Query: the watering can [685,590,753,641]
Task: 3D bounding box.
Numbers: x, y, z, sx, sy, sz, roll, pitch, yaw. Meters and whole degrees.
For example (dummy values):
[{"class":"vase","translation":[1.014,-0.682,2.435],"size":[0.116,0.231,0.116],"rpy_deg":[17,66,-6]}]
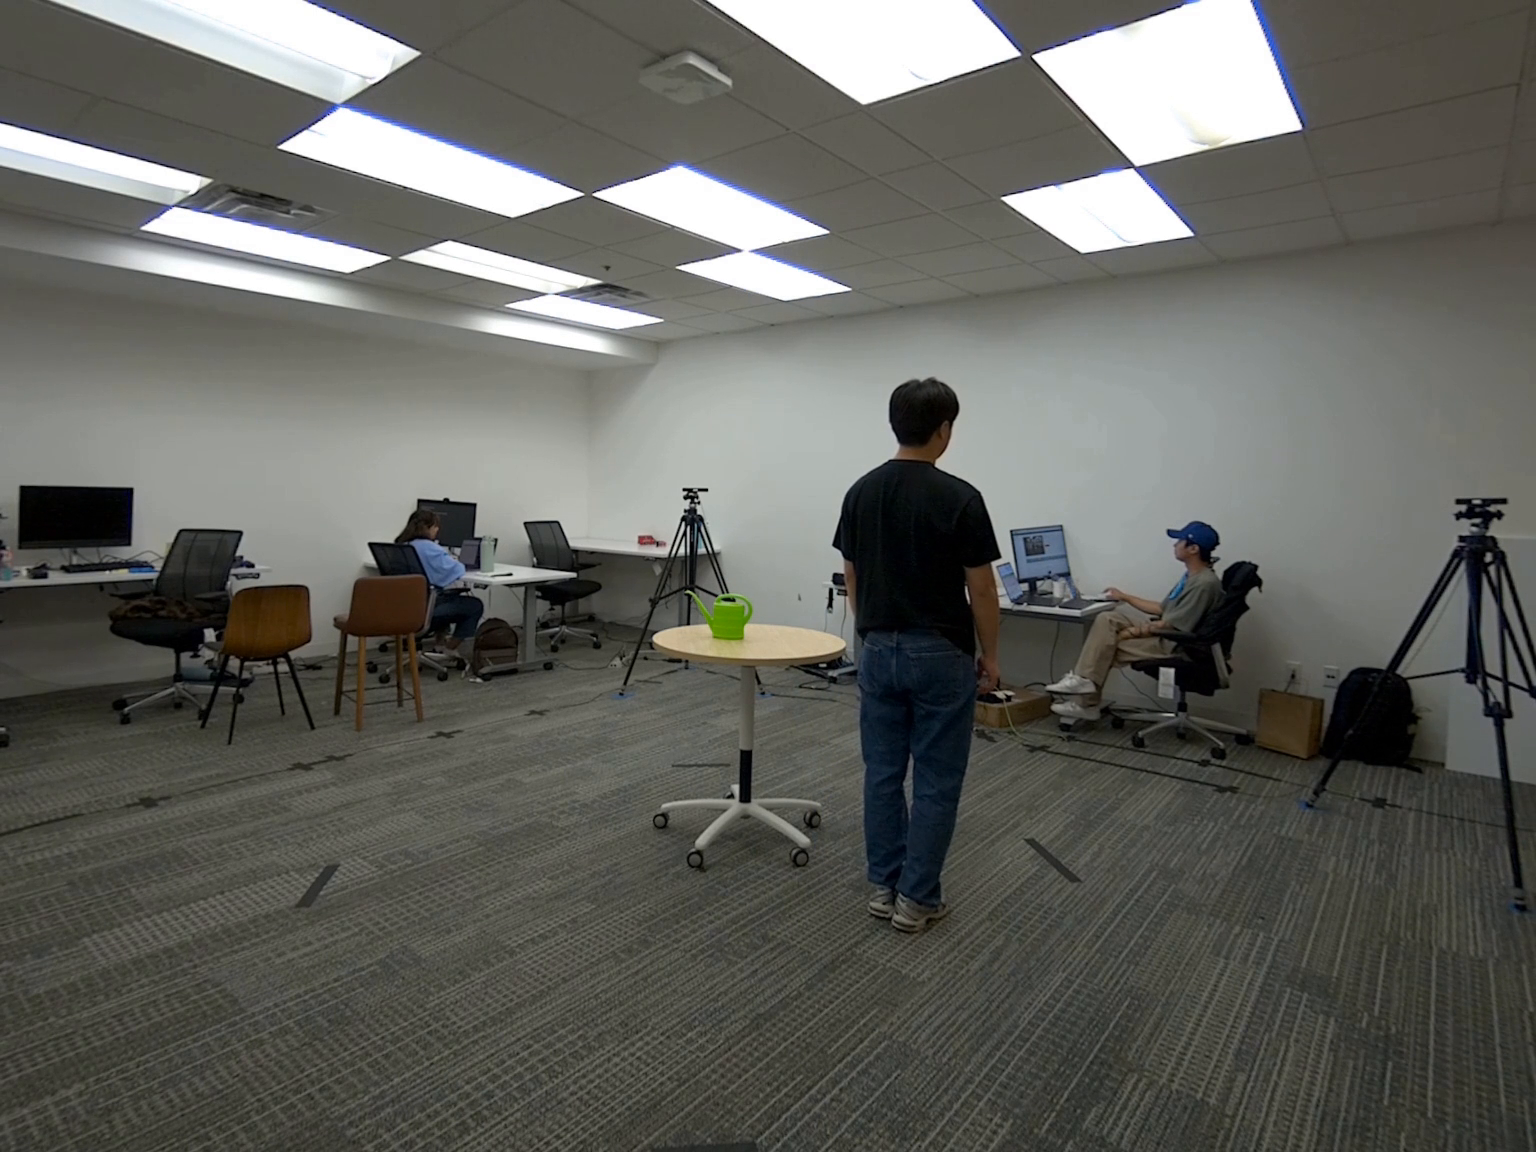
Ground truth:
[{"class":"watering can","translation":[-0.209,0.152,3.427],"size":[0.286,0.176,0.096],"rpy_deg":[7,4,24]}]
